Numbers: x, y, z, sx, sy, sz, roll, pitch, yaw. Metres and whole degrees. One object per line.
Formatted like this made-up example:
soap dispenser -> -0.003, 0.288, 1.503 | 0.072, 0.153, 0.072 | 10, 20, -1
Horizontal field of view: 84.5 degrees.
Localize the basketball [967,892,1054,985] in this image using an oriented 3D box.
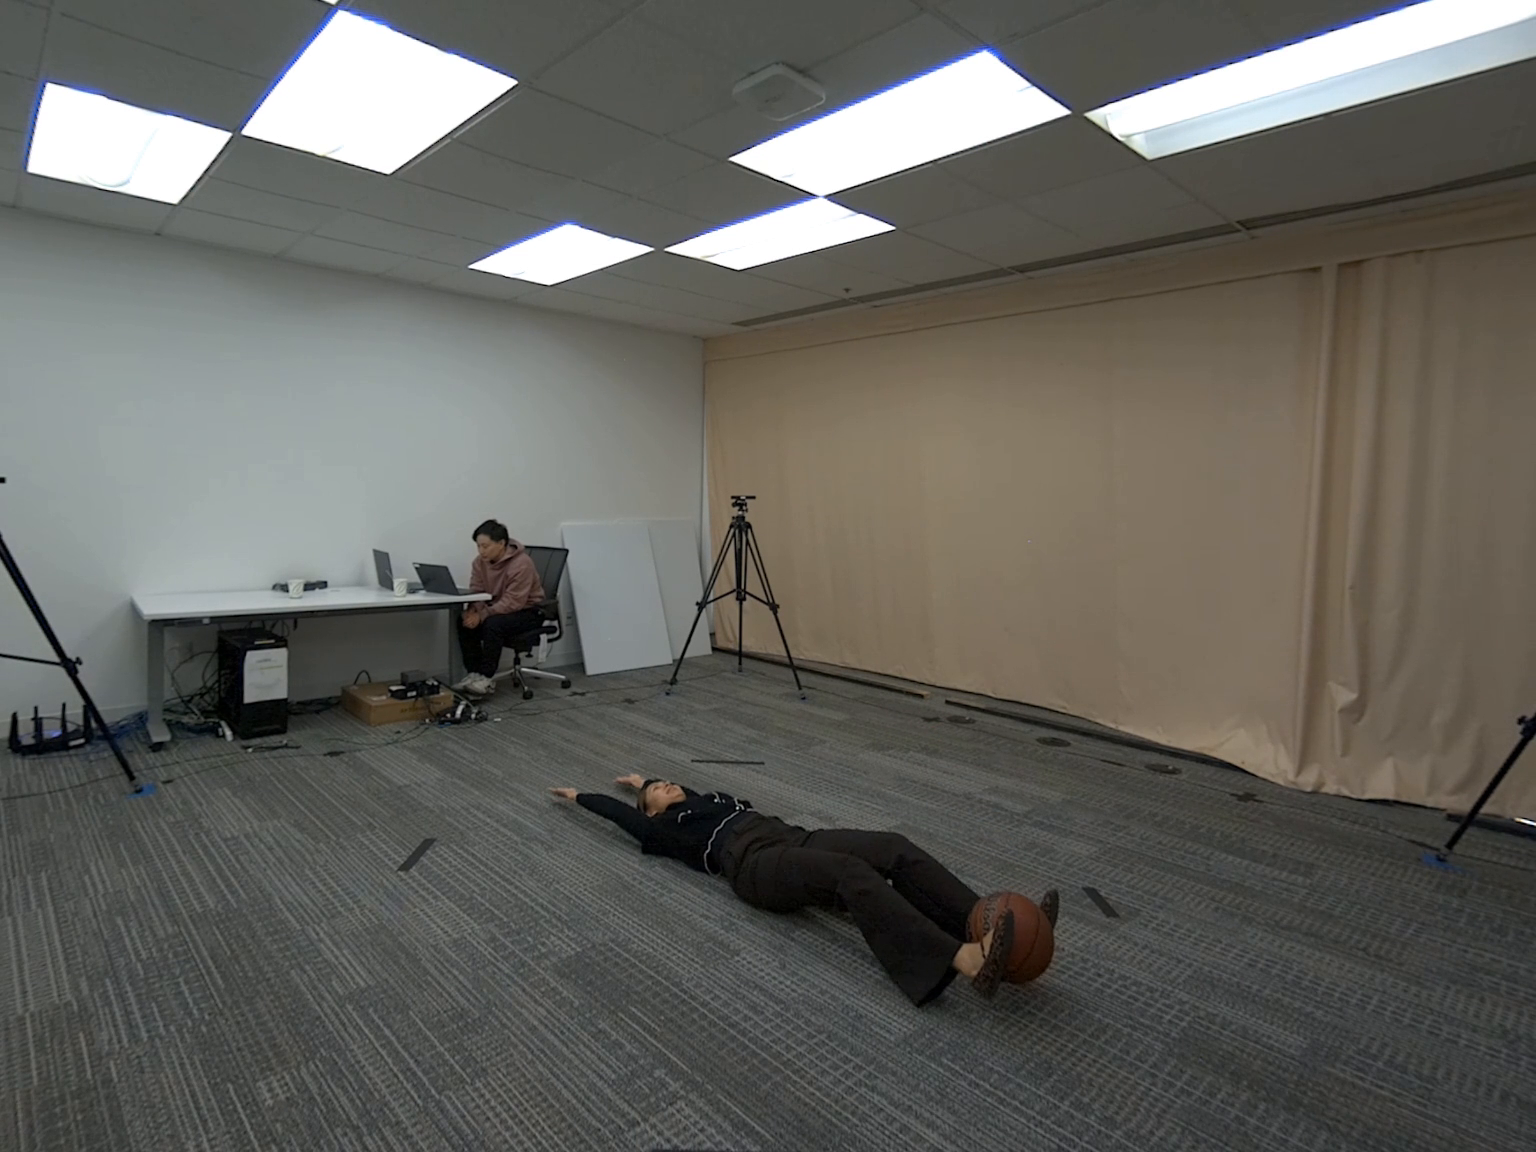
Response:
basketball -> 0.666, 0.999, 2.363 | 0.236, 0.235, 0.237 | 1, 4, -1
